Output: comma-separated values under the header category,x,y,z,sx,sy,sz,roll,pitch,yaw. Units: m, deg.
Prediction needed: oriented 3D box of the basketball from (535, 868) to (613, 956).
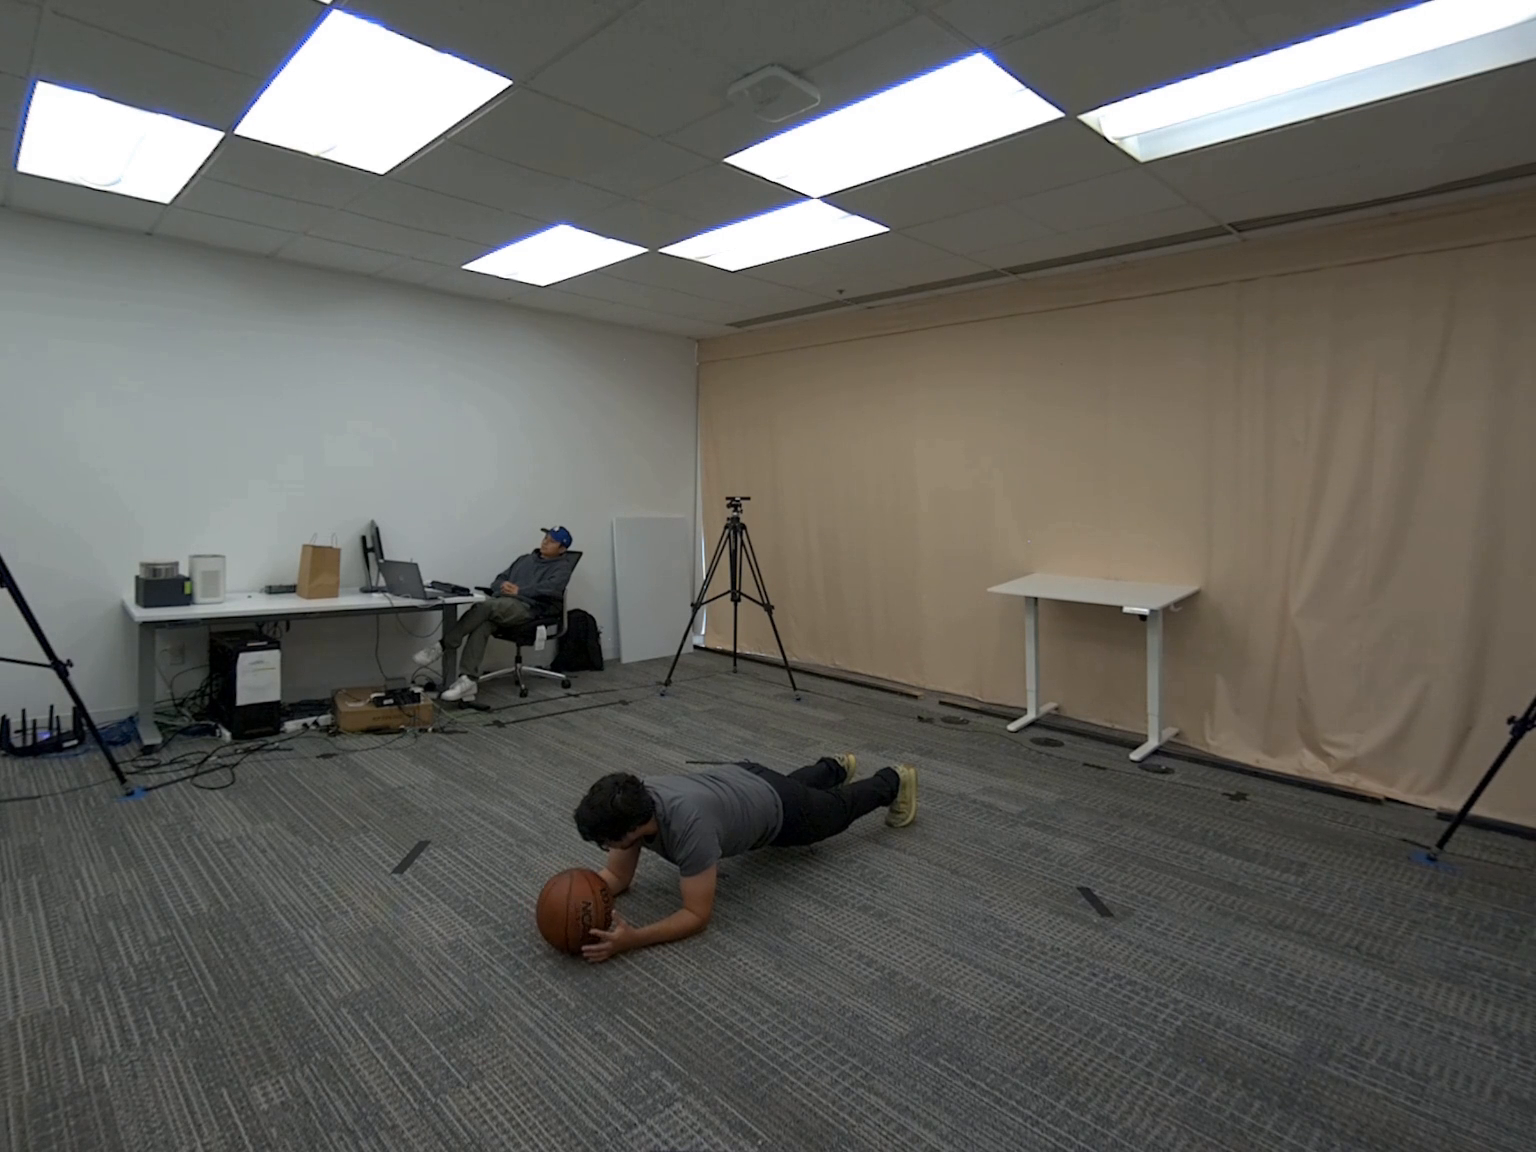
category,x,y,z,sx,sy,sz,roll,pitch,yaw
basketball,-0.595,1.025,2.586,0.236,0.235,0.237,1,4,-1
